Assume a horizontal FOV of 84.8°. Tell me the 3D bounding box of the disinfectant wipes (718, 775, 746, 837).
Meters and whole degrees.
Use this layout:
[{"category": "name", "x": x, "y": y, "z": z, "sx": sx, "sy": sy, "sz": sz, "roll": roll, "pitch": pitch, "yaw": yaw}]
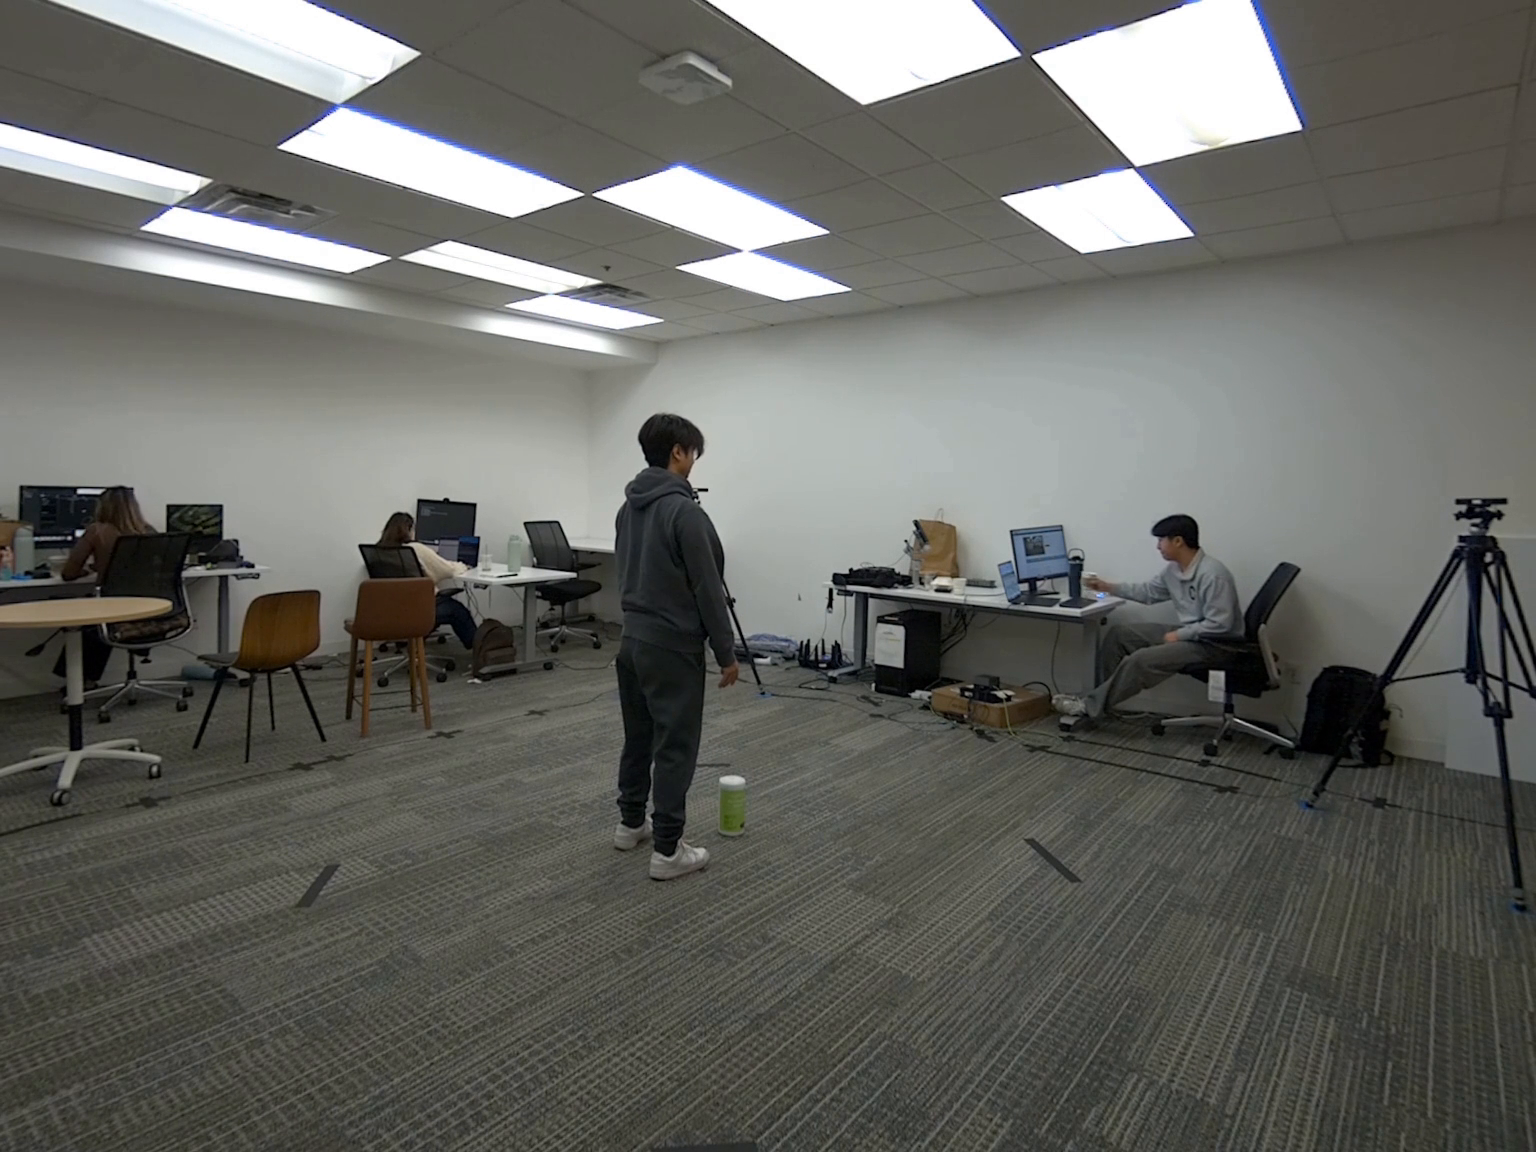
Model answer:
[{"category": "disinfectant wipes", "x": -0.159, "y": 0.933, "z": 3.459, "sx": 0.117, "sy": 0.217, "sz": 0.118, "roll": 2, "pitch": 4, "yaw": -2}]
